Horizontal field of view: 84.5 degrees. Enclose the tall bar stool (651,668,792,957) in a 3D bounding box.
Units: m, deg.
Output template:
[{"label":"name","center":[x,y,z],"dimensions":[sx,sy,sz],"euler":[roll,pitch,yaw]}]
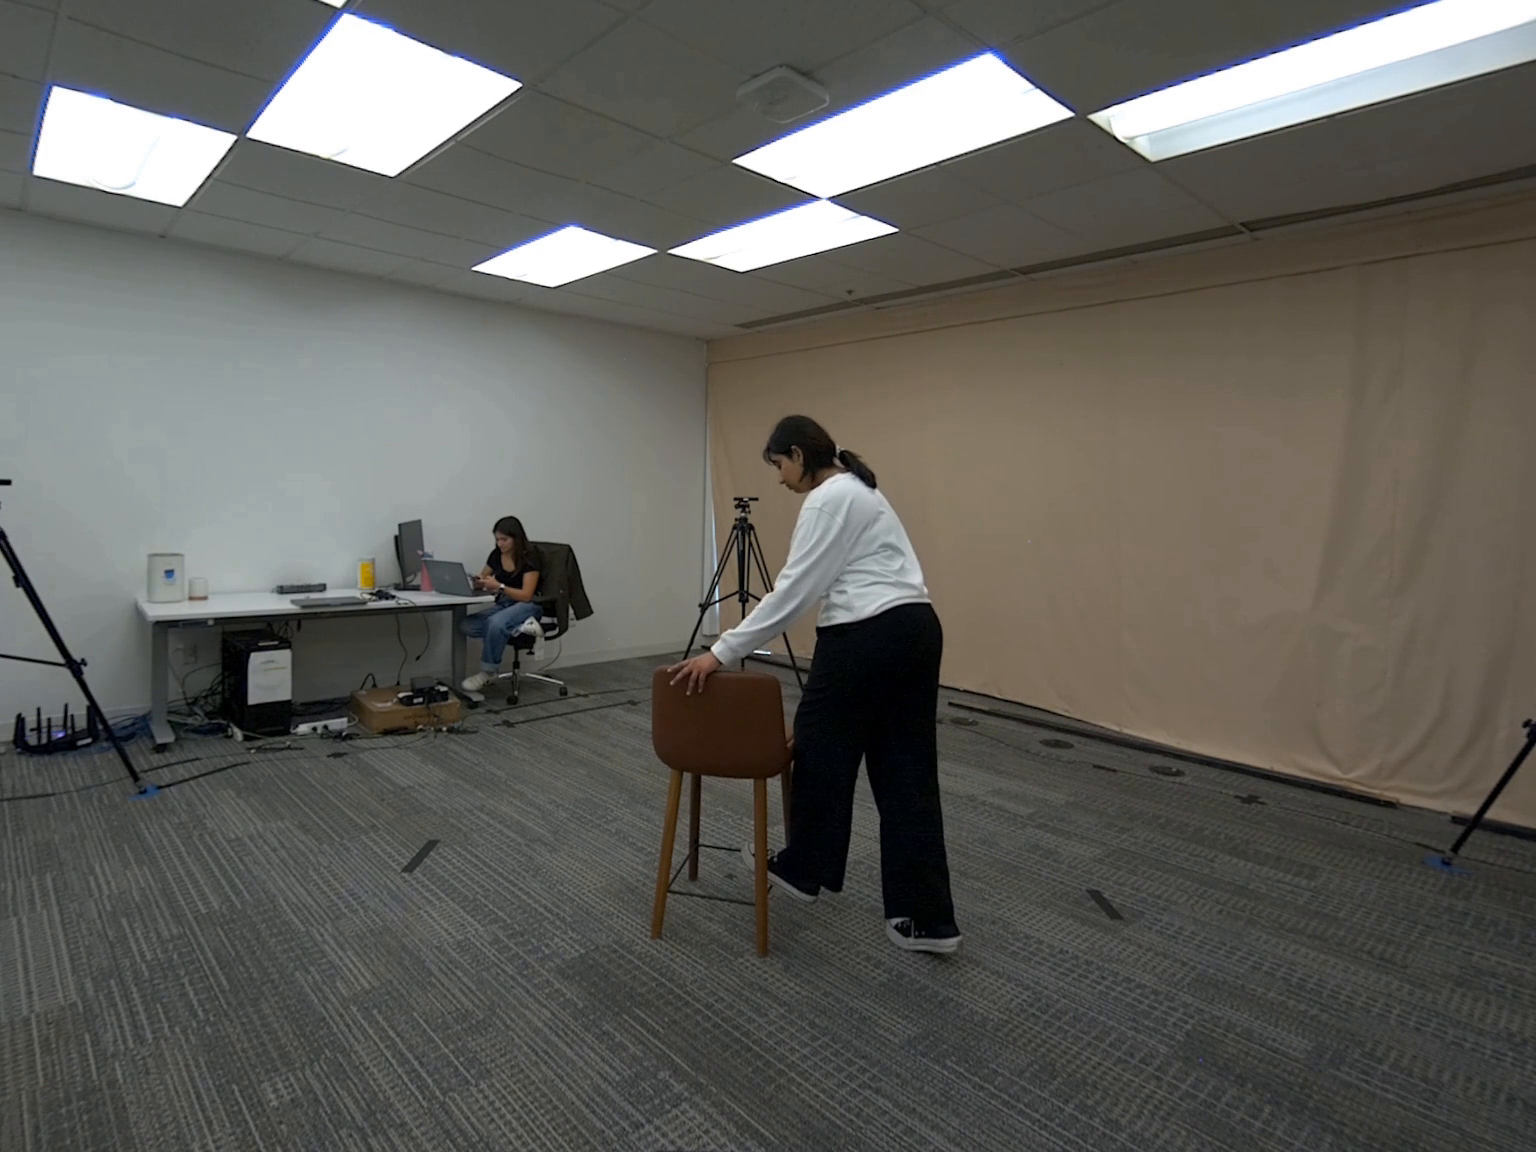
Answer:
[{"label":"tall bar stool","center":[-0.136,0.697,2.790],"dimensions":[0.462,0.886,0.463],"euler":[3,6,15]}]
